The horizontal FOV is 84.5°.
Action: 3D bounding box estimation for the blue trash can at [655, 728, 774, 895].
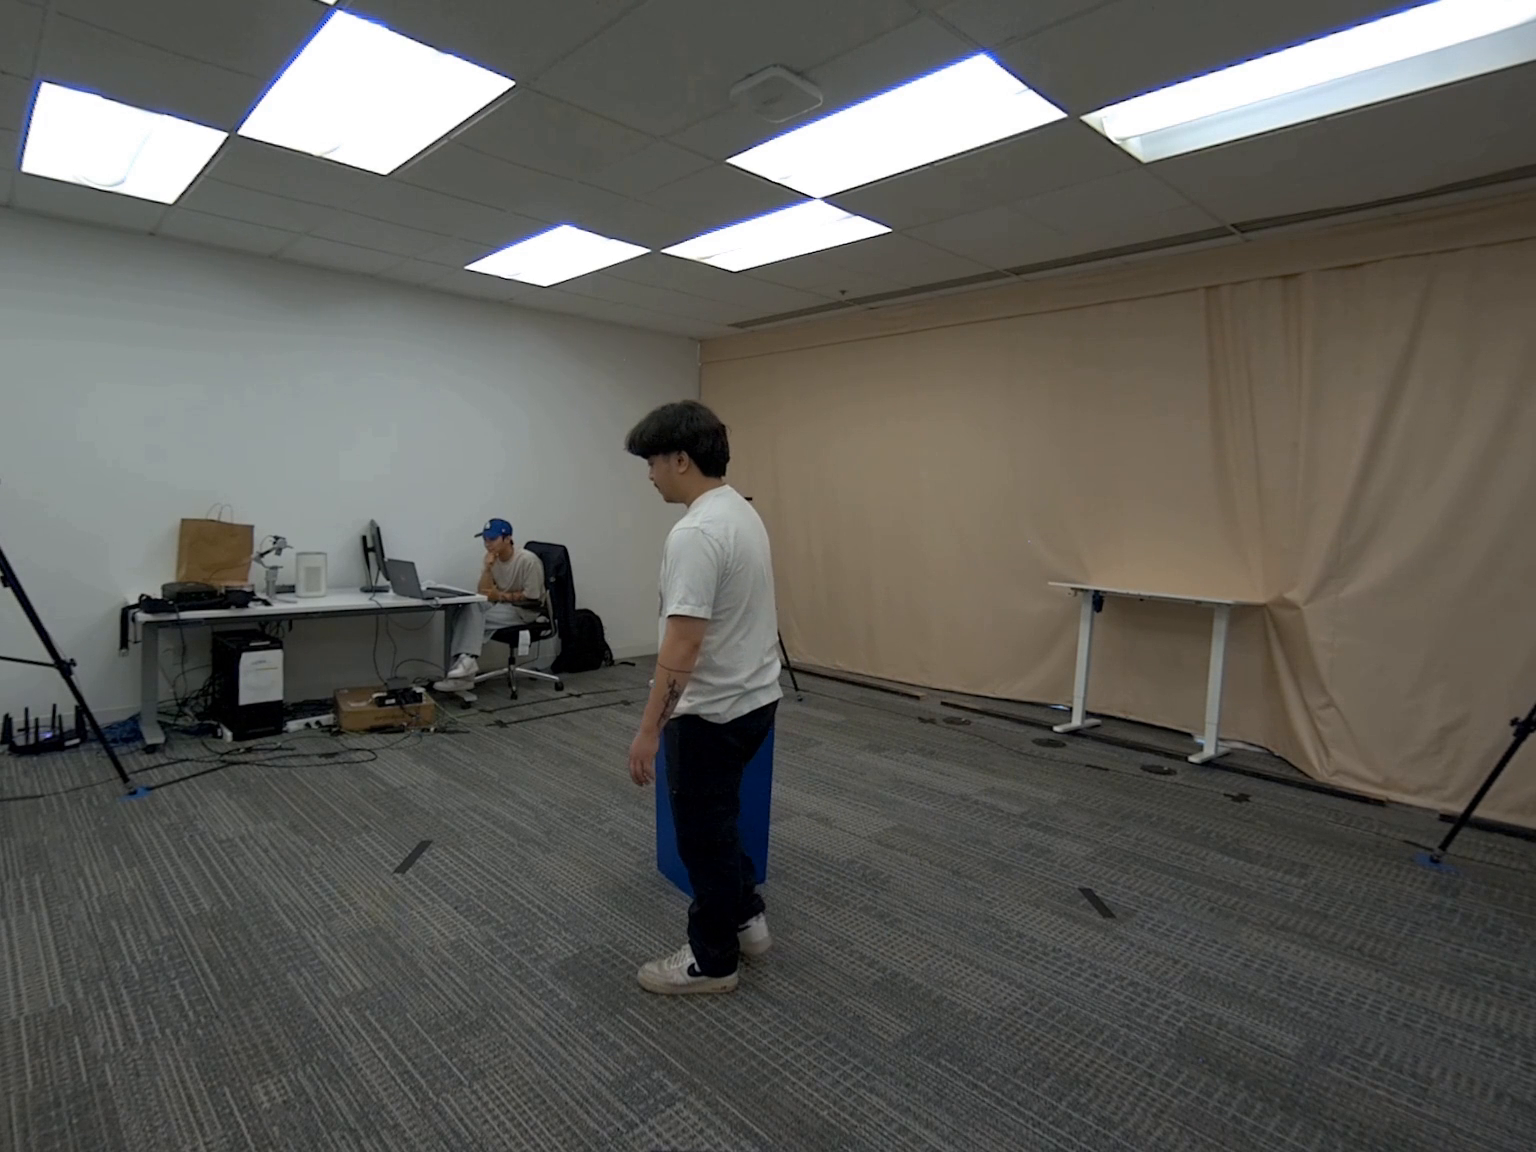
[{"bbox_3d":[-0.213,0.751,3.093,0.370,0.712,0.383,-1,4,-34],"label":"blue trash can"}]
